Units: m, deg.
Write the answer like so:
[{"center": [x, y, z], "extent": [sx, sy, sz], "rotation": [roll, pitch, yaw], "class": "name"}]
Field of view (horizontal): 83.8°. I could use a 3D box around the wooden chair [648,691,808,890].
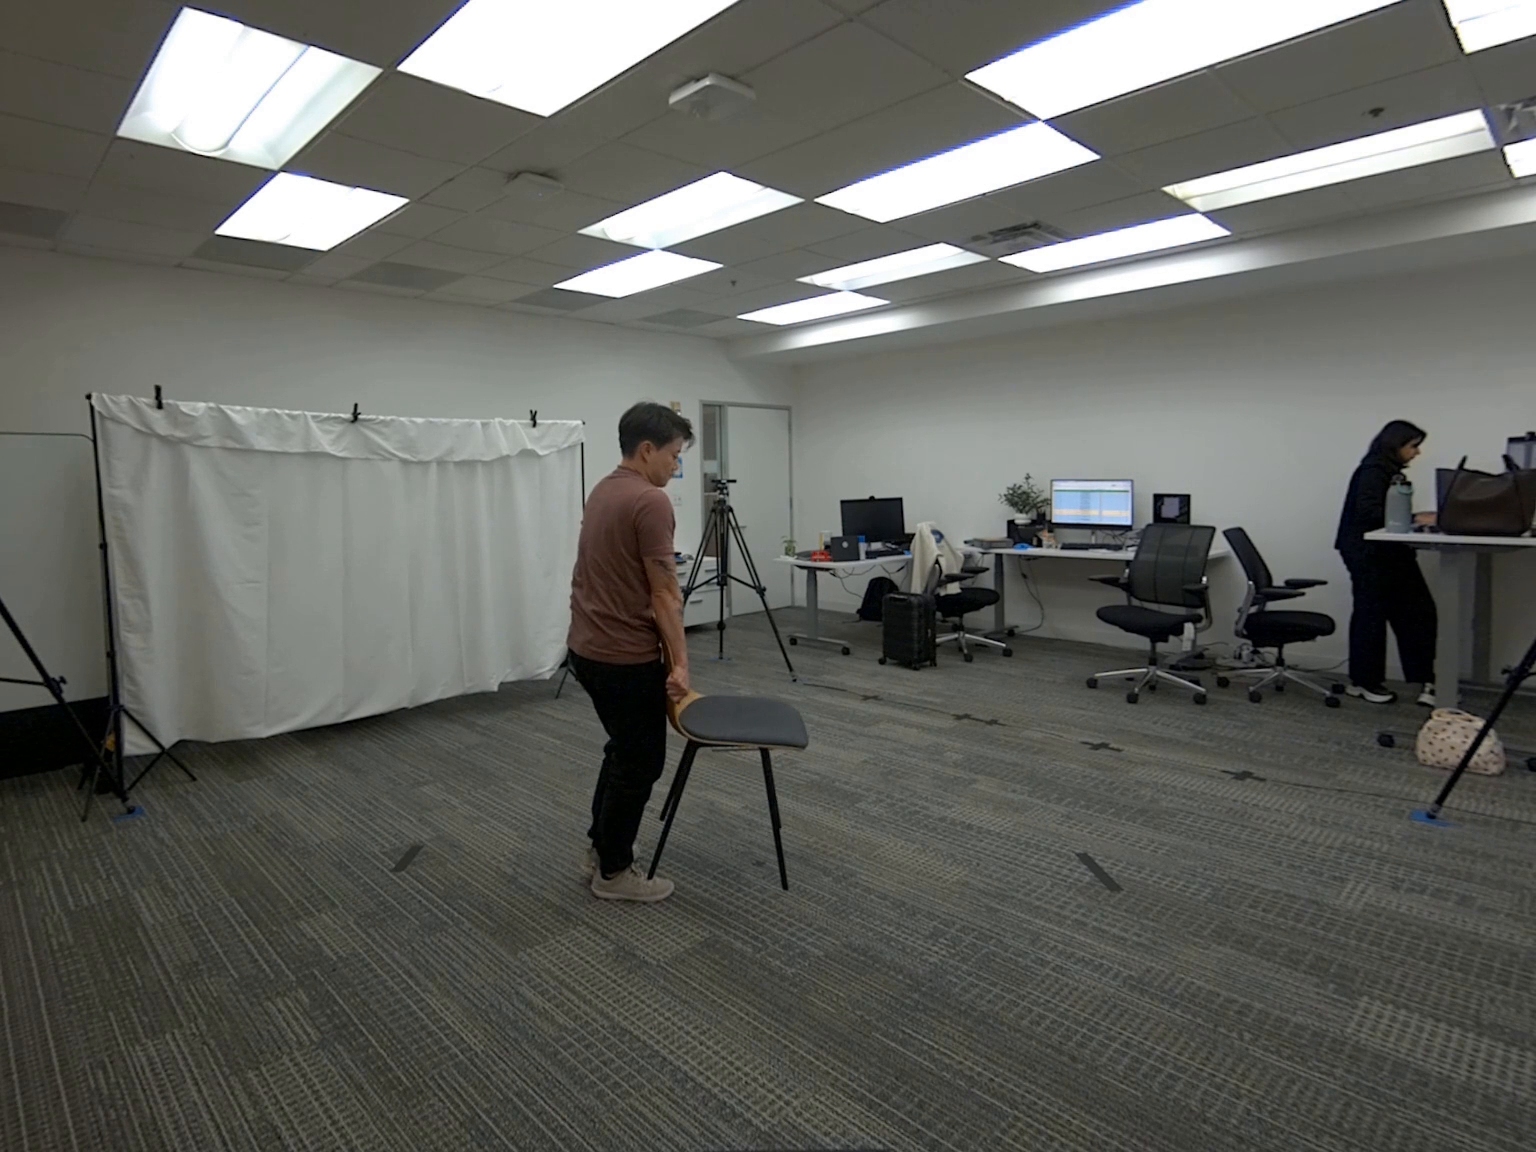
[{"center": [-0.129, 0.539, 2.923], "extent": [0.523, 0.873, 0.481], "rotation": [0, 5, -2], "class": "wooden chair"}]
